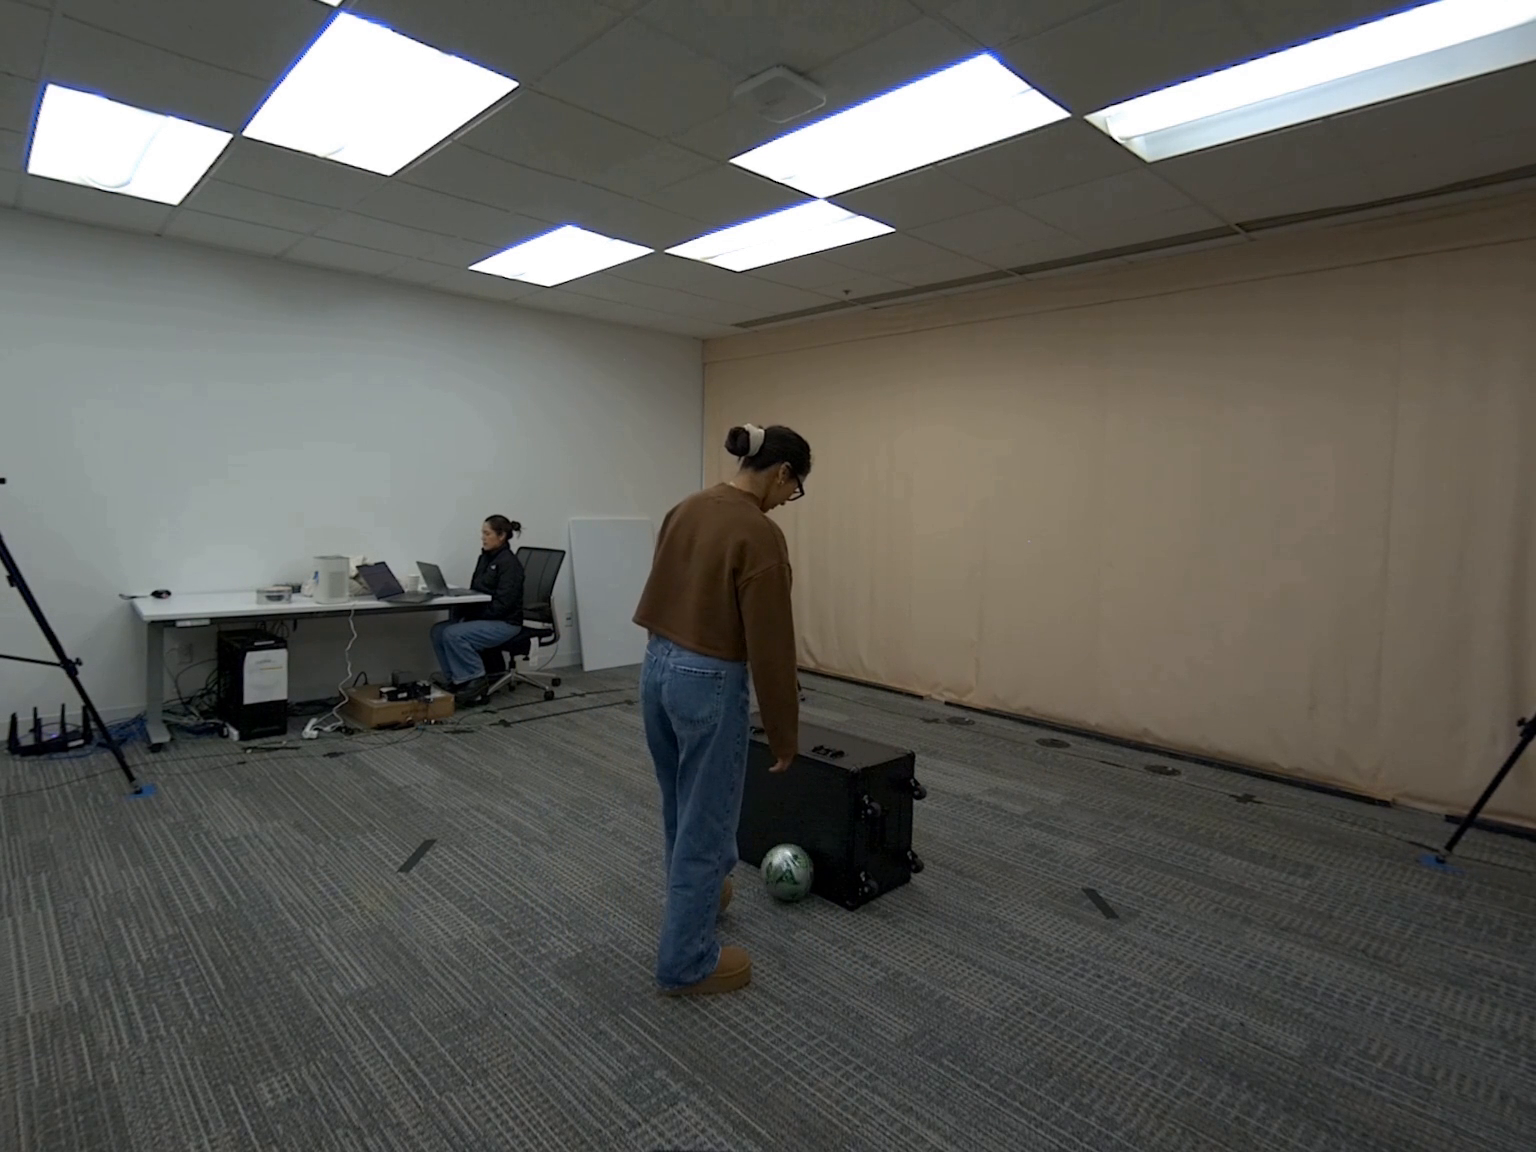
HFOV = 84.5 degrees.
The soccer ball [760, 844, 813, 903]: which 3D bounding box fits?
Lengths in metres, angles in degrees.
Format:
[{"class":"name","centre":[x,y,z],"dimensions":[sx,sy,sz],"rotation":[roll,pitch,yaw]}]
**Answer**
[{"class":"soccer ball","centre":[0.038,1.026,2.922],"dimensions":[0.187,0.187,0.188],"rotation":[1,4,-1]}]
